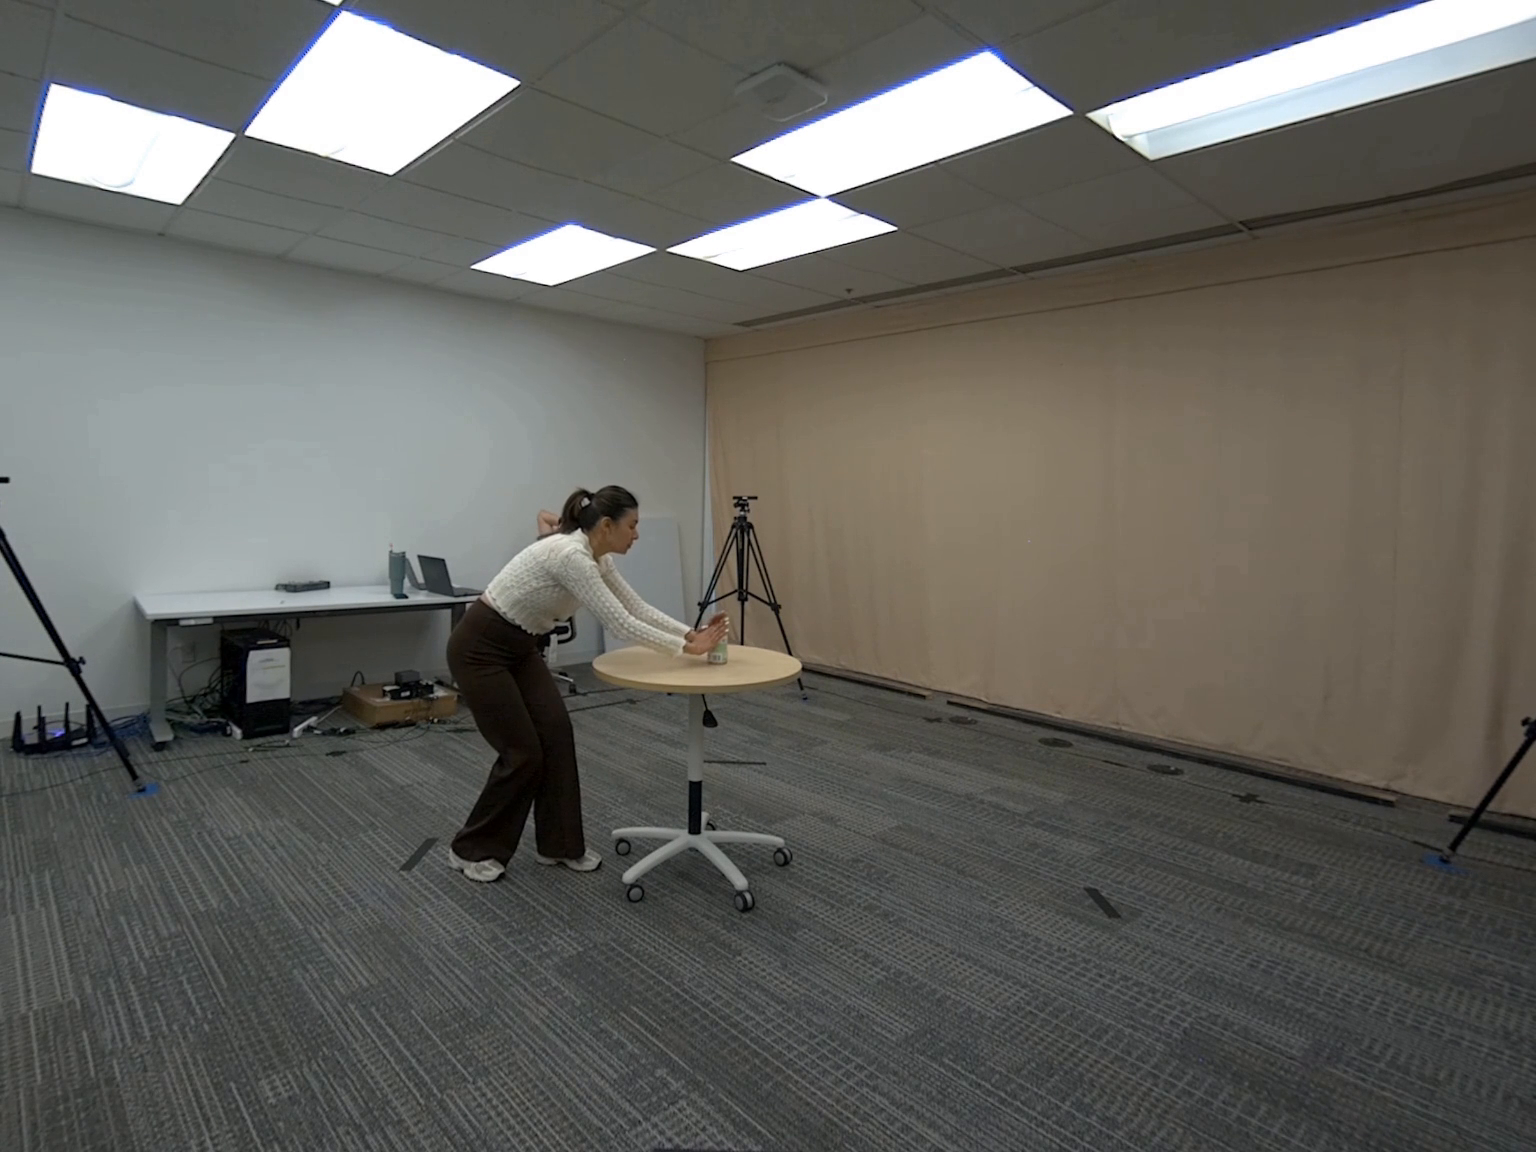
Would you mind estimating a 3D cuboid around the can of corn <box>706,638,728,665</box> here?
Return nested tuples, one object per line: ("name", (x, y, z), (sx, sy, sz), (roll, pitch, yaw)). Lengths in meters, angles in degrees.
("can of corn", (-0.199, 0.267, 3.083), (0.074, 0.111, 0.074), (-1, 3, -1))
